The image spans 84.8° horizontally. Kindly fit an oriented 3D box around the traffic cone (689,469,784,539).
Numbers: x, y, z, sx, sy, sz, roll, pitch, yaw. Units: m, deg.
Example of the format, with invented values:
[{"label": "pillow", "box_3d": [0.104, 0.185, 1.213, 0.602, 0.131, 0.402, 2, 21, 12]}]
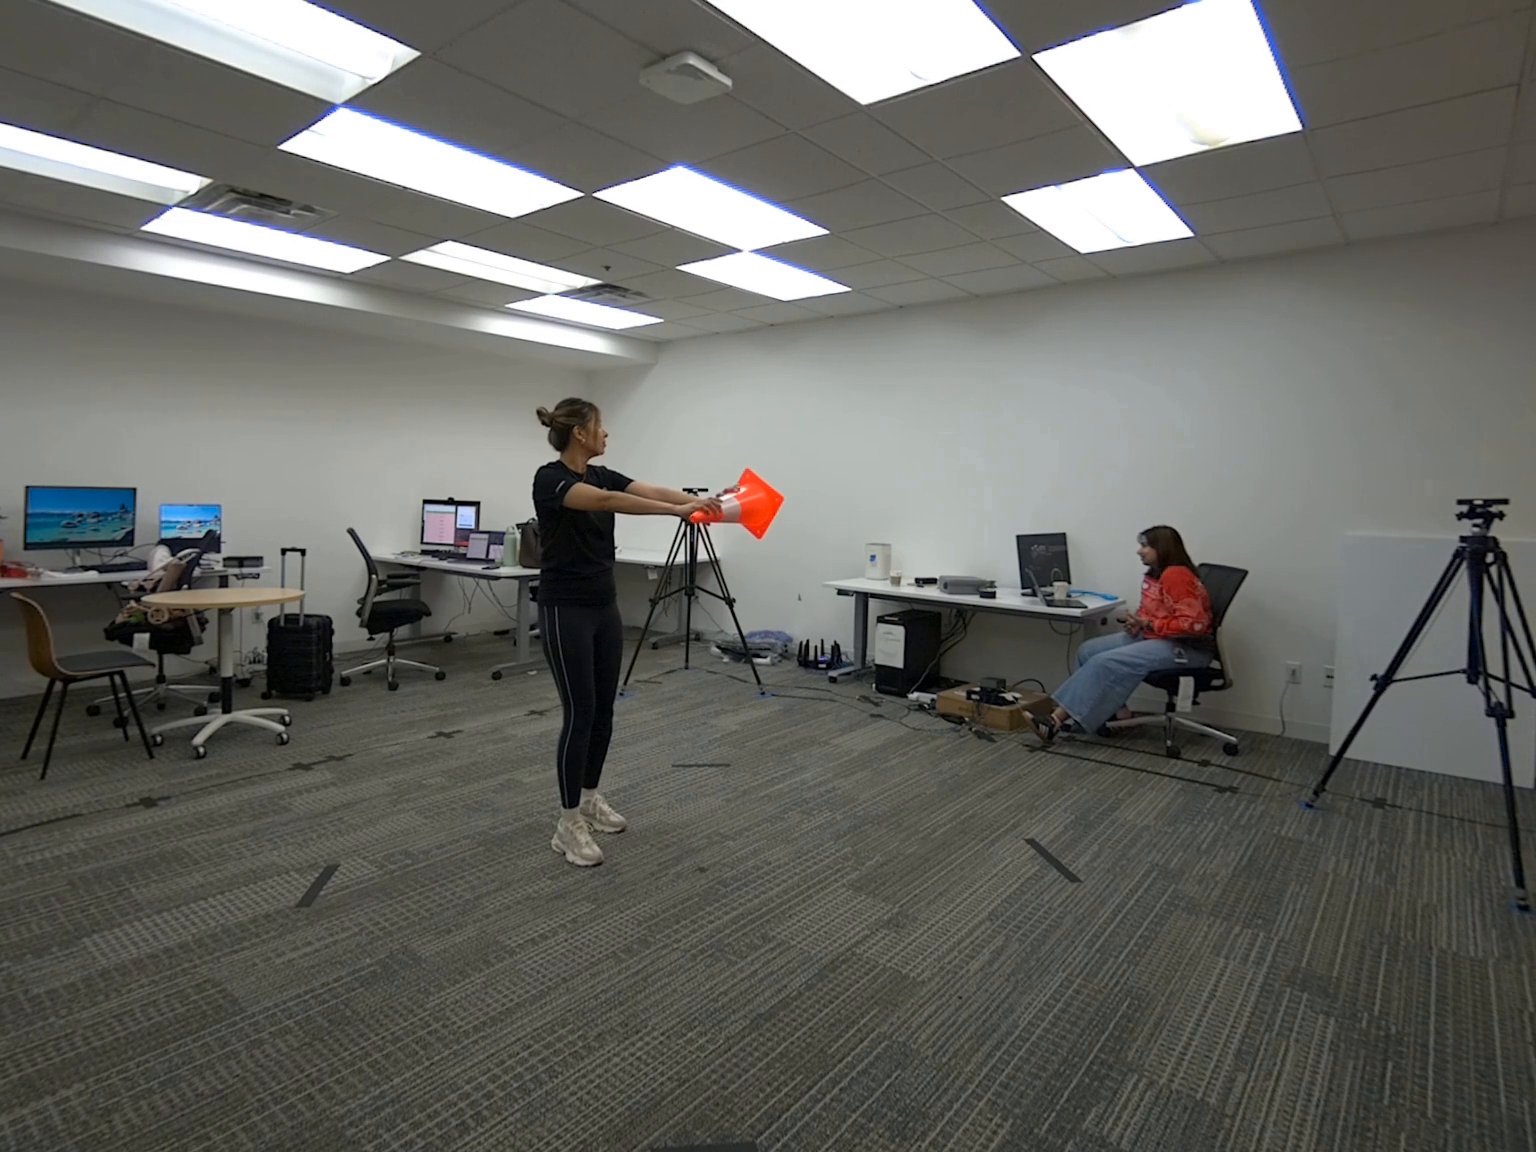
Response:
[{"label": "traffic cone", "box_3d": [-0.167, -0.234, 2.997, 0.210, 0.203, 0.375, 41, 30, 22]}]
